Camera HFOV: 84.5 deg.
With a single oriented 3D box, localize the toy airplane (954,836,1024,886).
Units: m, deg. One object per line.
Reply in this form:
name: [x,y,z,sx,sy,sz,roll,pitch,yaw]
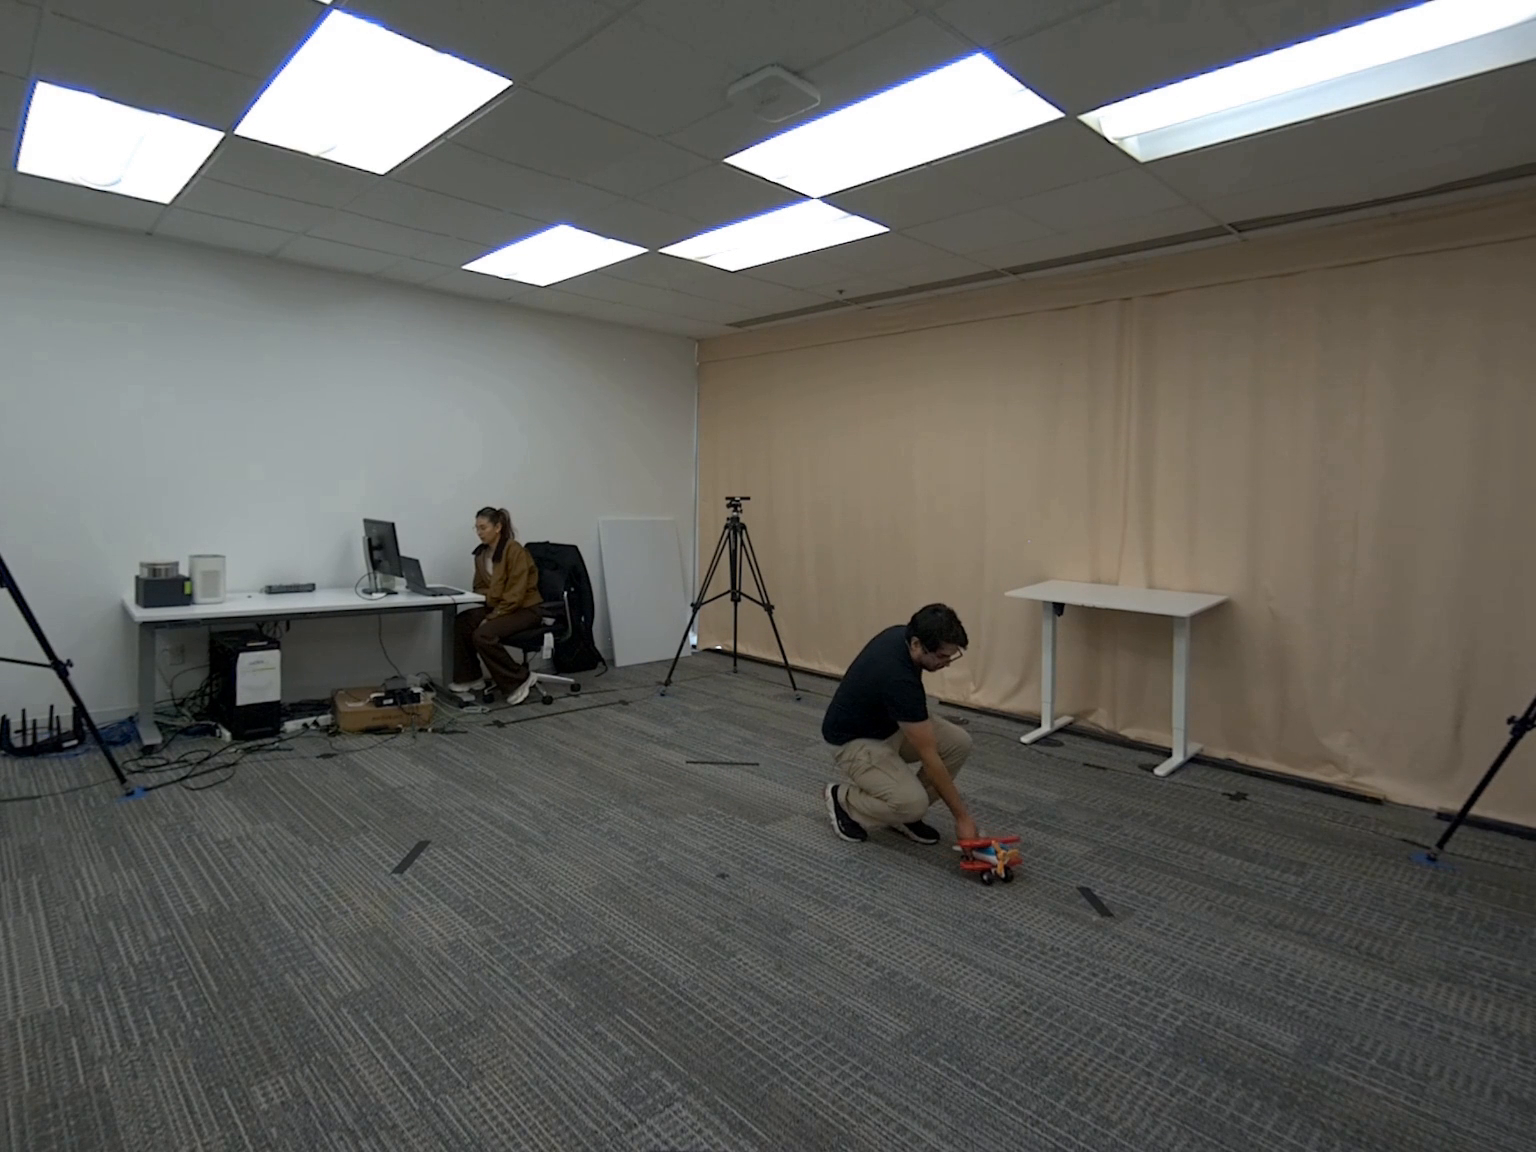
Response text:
toy airplane: [0.793,1.050,3.182,0.245,0.156,0.266,-4,8,-44]
